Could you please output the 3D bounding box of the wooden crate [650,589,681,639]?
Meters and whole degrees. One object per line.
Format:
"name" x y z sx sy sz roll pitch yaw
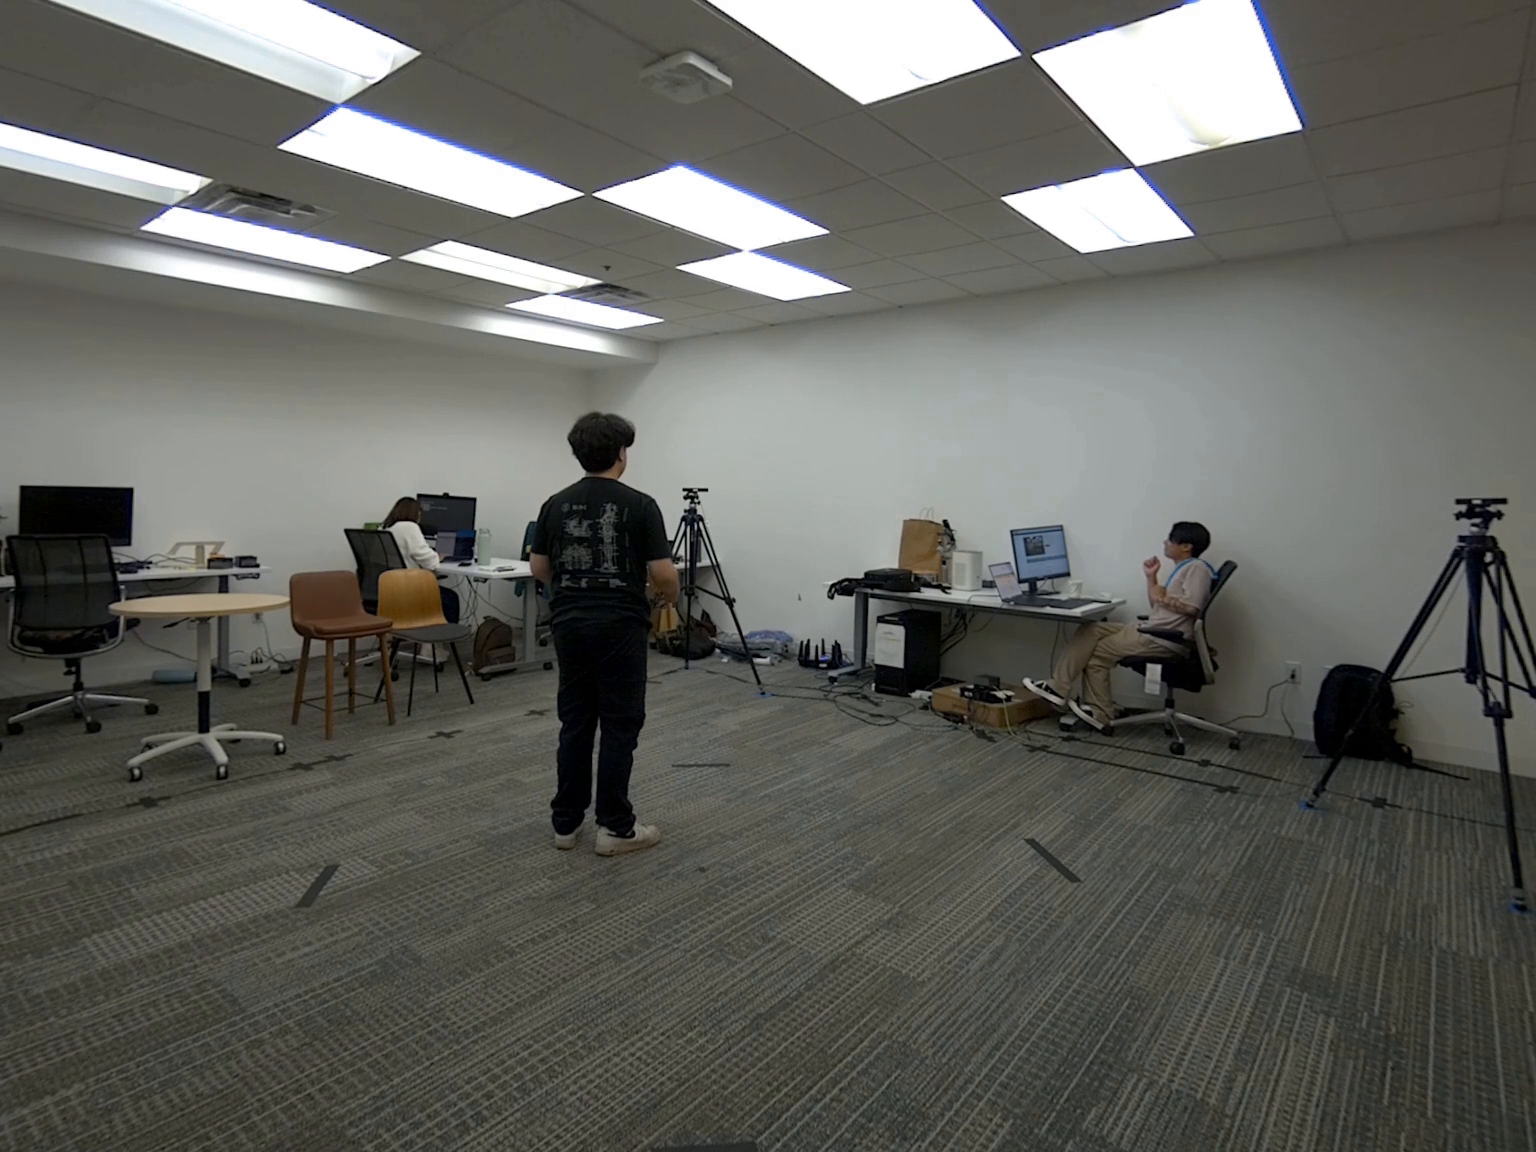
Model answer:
"wooden crate" -0.575 0.078 3.647 0.329 0.273 0.298 5 1 12
